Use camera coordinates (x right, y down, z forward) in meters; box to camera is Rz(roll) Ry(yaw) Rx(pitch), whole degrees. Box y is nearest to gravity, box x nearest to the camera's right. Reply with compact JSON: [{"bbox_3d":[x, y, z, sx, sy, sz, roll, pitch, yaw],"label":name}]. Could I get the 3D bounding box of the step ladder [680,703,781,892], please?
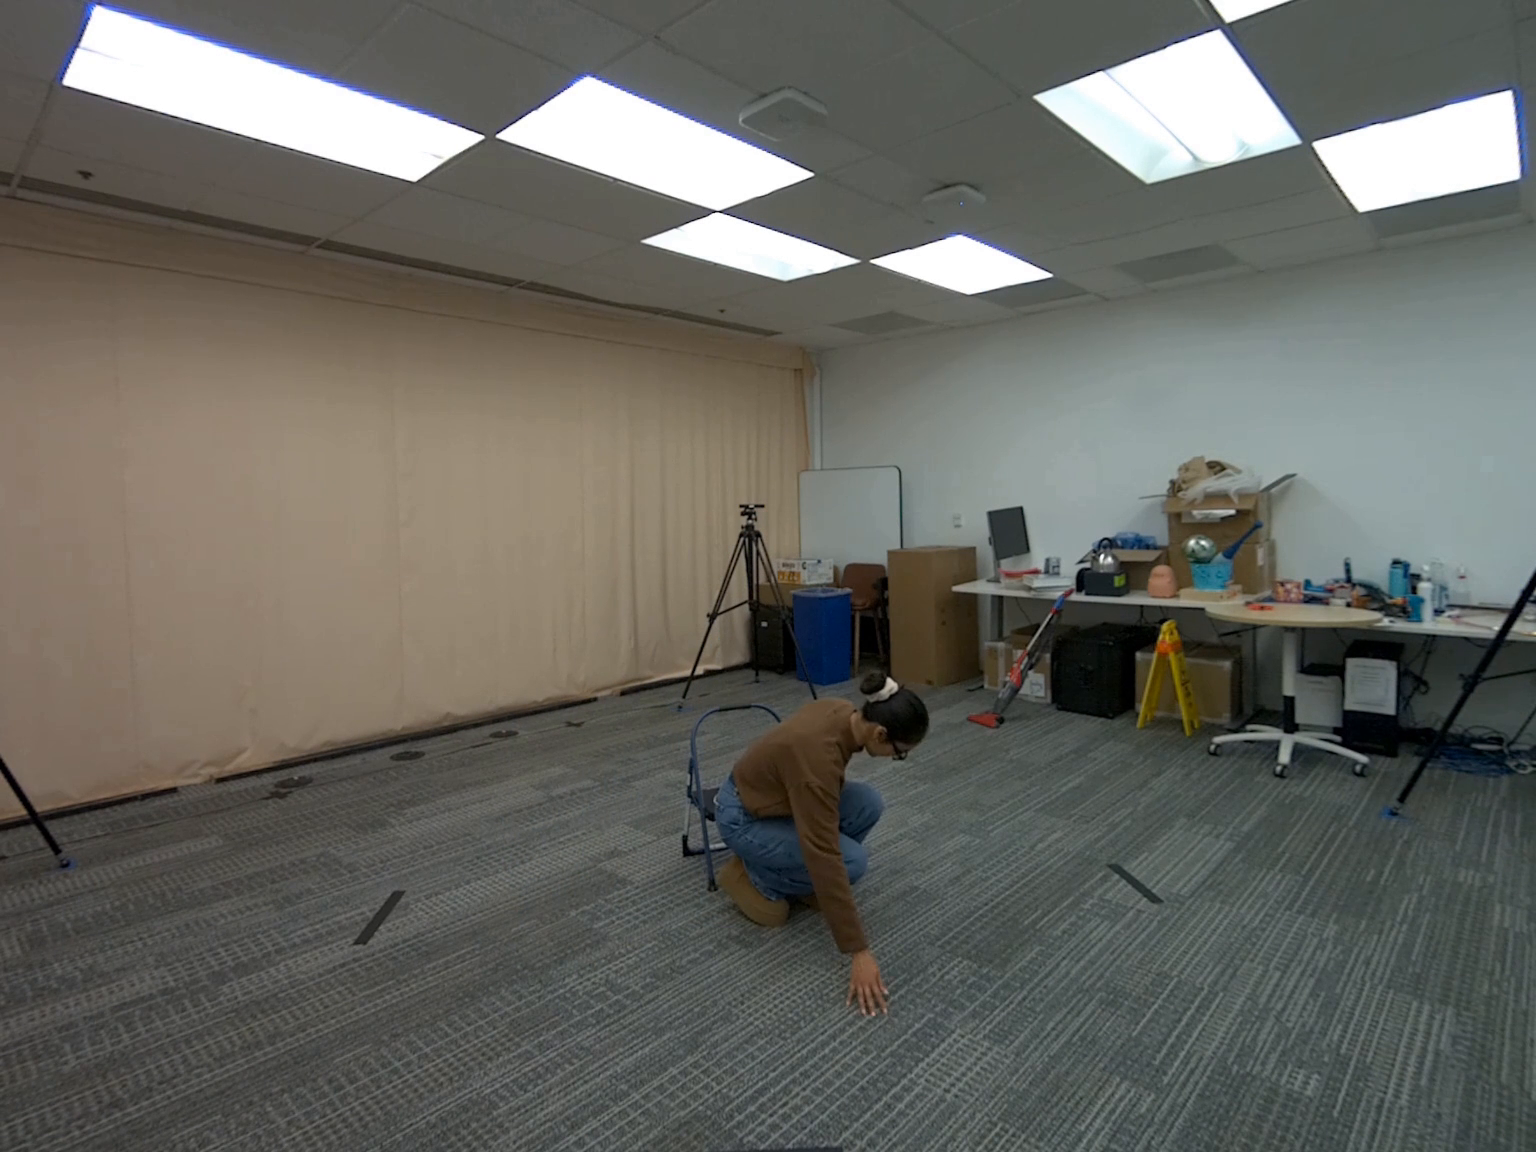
[{"bbox_3d":[-0.088,0.818,3.256,0.421,0.605,0.358,-3,4,-23],"label":"step ladder"}]
